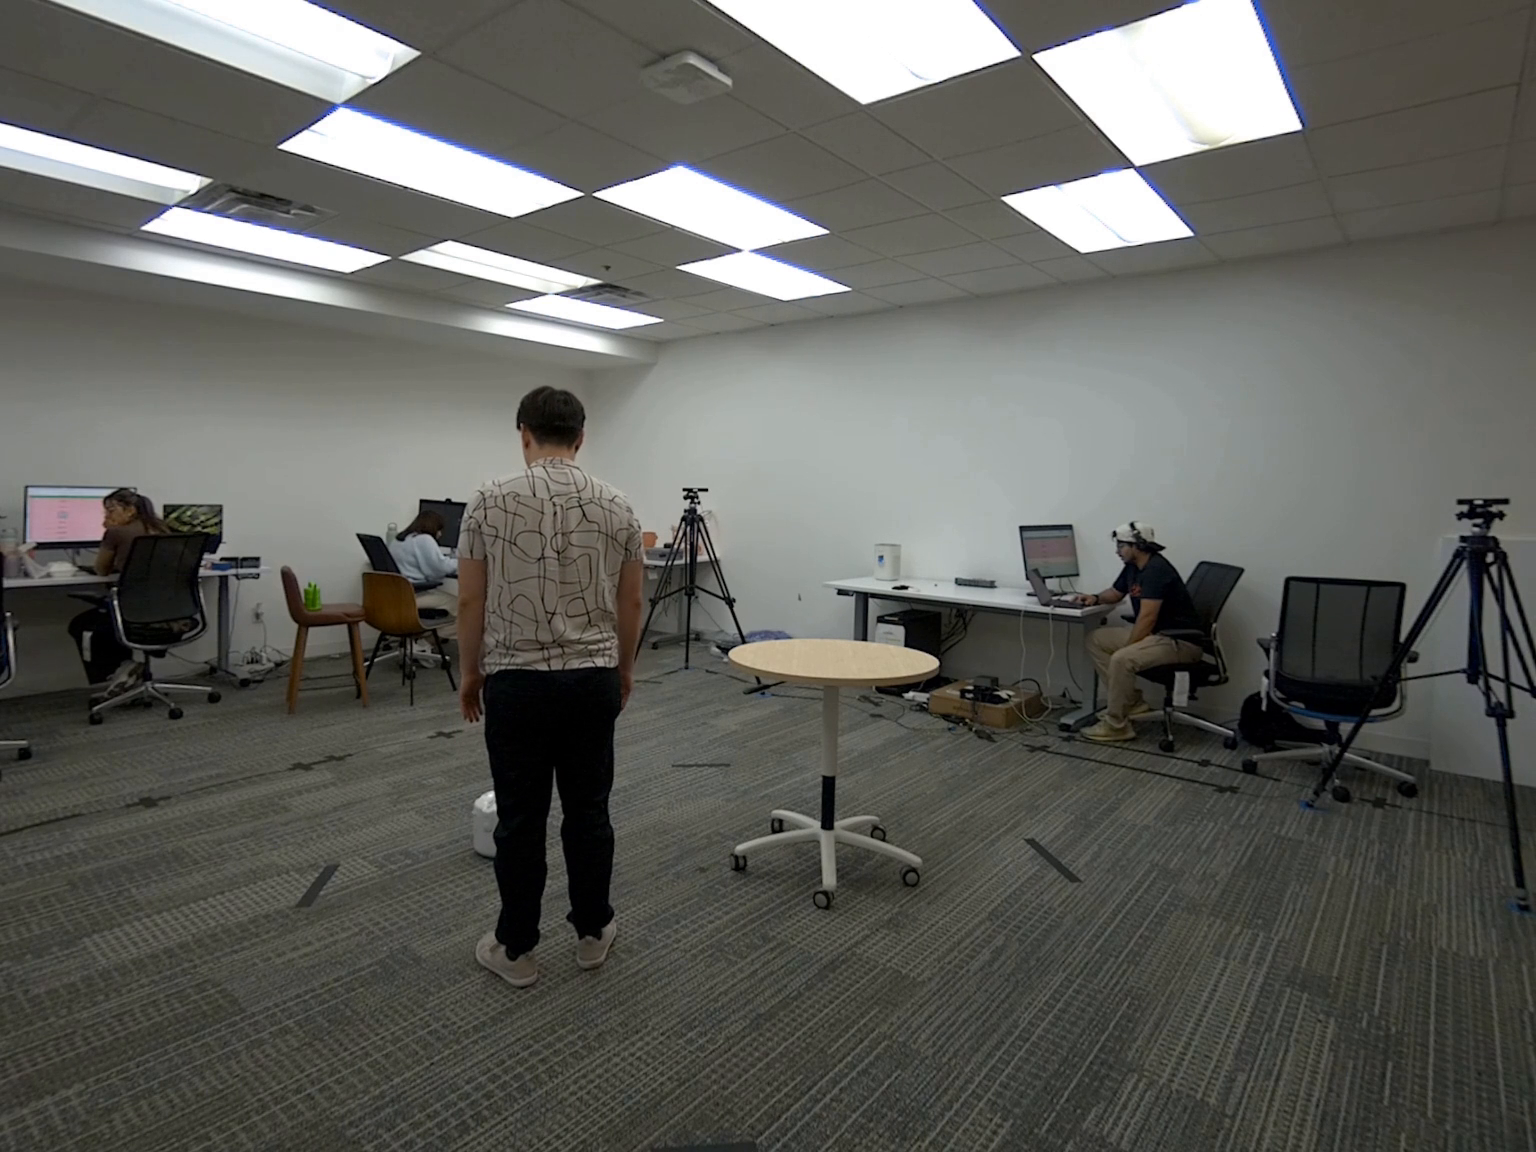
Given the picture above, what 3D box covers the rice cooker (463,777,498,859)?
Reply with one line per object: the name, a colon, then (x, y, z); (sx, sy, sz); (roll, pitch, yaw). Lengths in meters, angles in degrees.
rice cooker: (-1.013, 0.921, 3.236); (0.221, 0.232, 0.217); (1, 3, 17)
